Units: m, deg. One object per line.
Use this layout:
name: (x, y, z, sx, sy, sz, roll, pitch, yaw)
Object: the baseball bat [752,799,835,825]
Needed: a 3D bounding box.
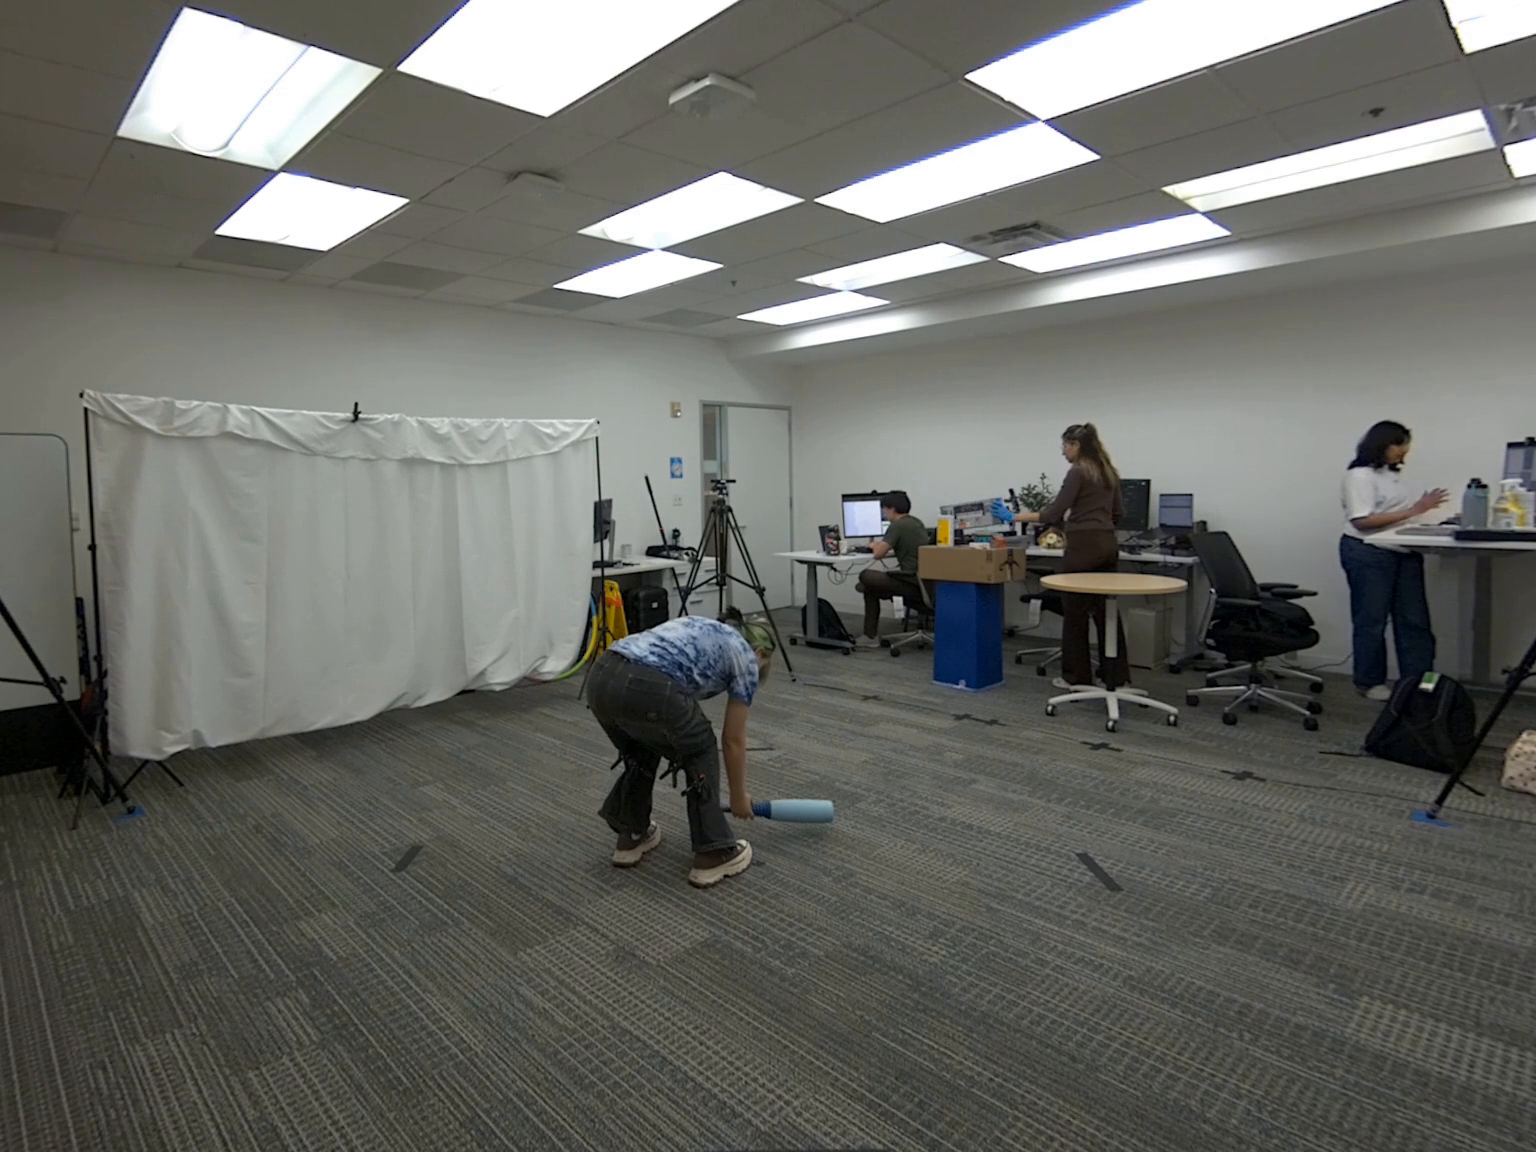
baseball bat: (-0.010, 0.911, 3.333, 0.541, 0.089, 0.089, 2, 4, -3)
